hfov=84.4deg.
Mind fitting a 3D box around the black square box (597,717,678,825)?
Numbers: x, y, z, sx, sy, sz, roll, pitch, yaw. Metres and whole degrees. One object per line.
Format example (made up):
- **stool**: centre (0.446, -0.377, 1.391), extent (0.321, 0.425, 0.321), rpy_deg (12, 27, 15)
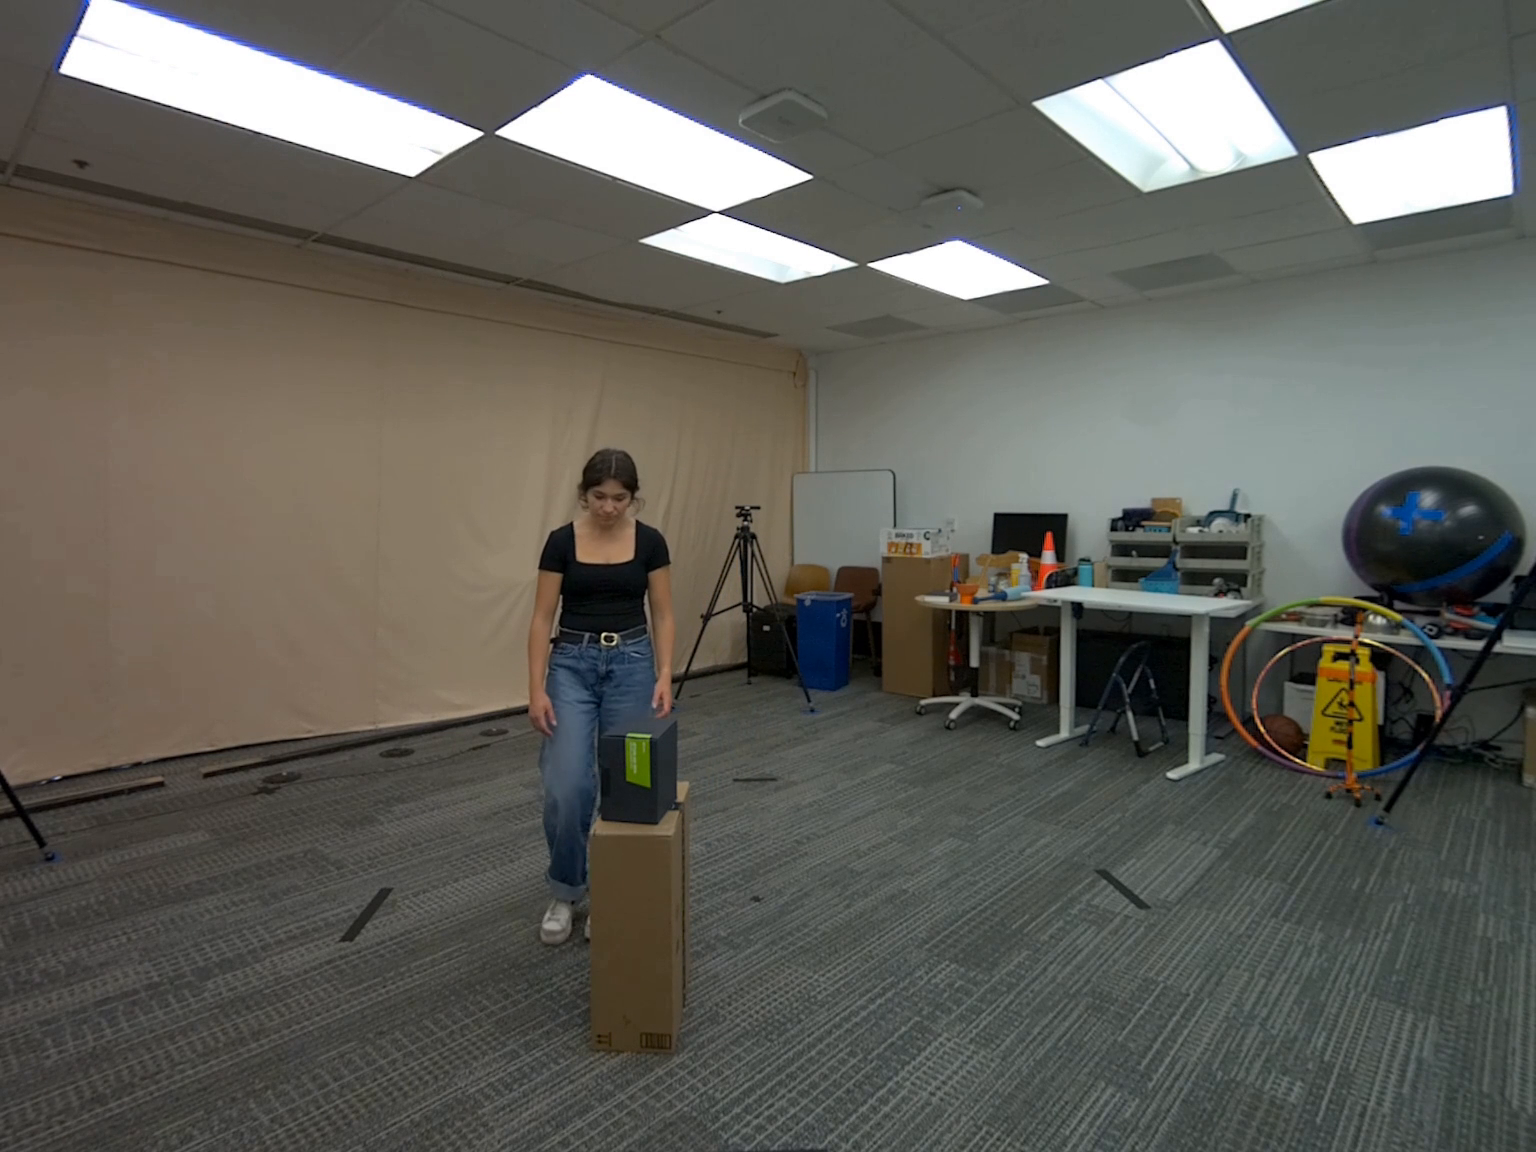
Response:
- **black square box**: centre (-0.339, 0.516, 2.302), extent (0.157, 0.228, 0.215), rpy_deg (0, 1, 7)
